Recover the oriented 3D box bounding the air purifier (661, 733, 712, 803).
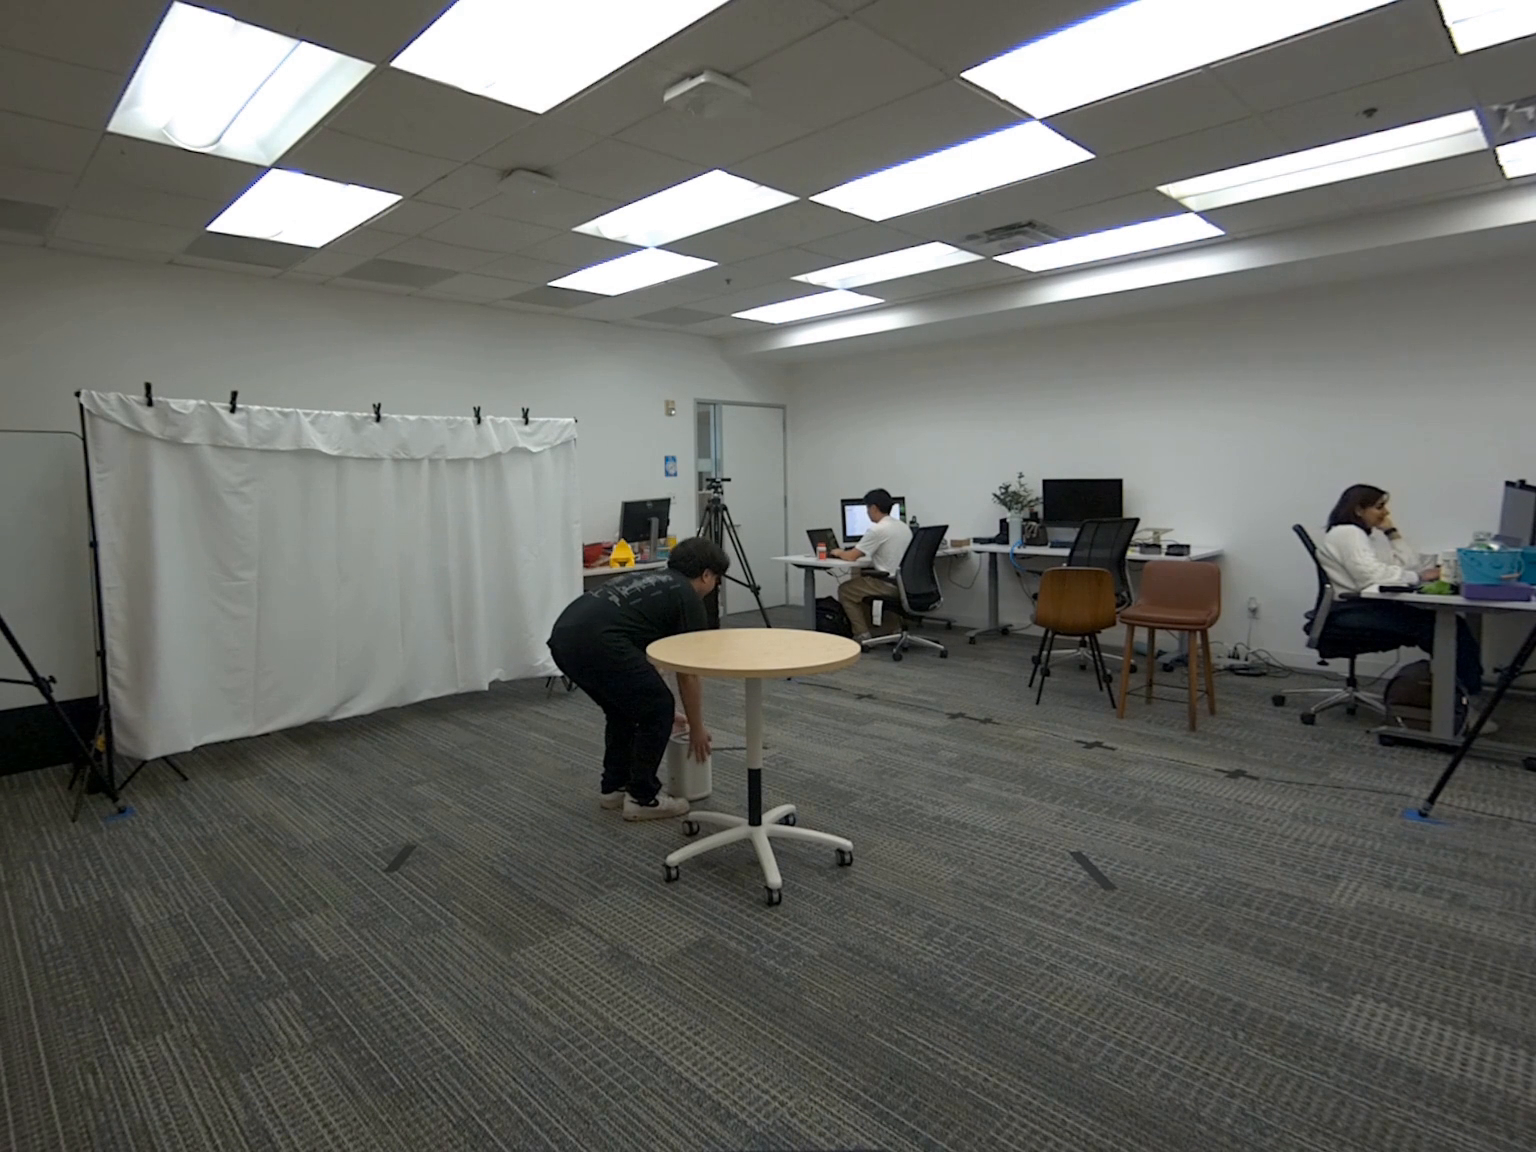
[{"bbox_3d":[-0.351,0.837,3.777,0.167,0.264,0.176,-4,5,-36],"label":"air purifier"}]
